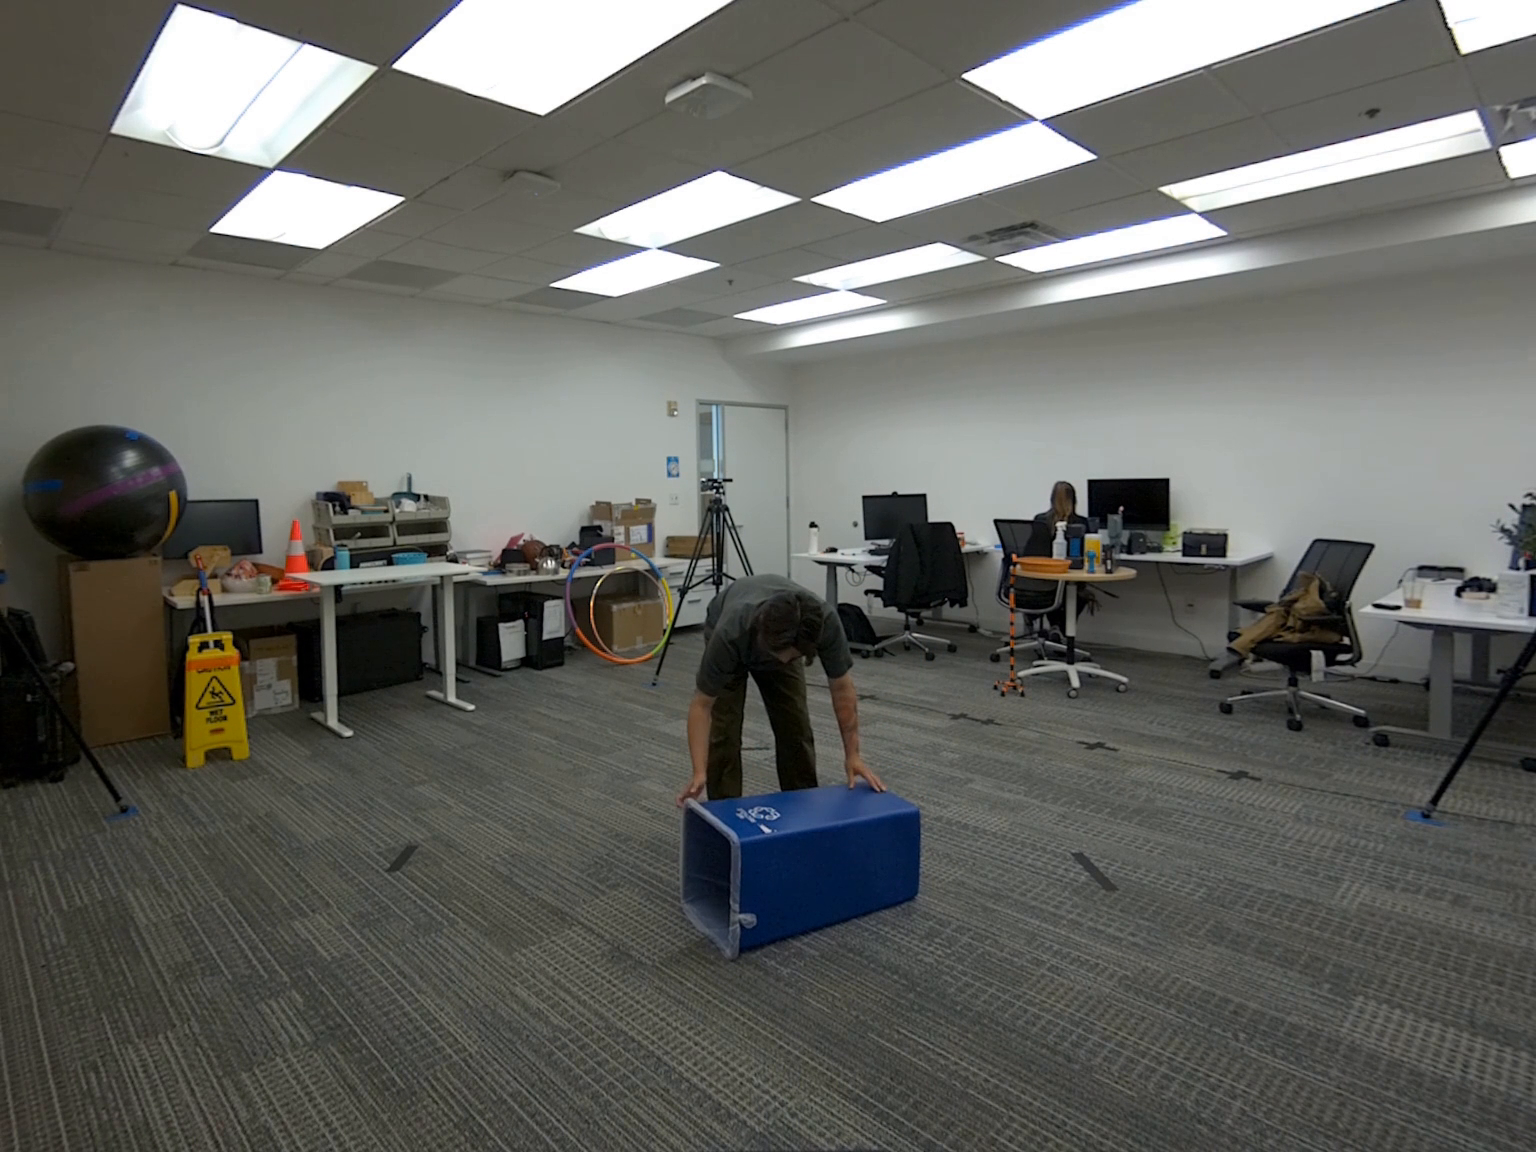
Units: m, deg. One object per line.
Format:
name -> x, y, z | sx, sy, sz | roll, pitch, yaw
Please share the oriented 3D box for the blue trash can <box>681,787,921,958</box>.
blue trash can -> 0.120, 0.918, 2.778 | 0.697, 0.373, 0.388 | -1, 4, -27
